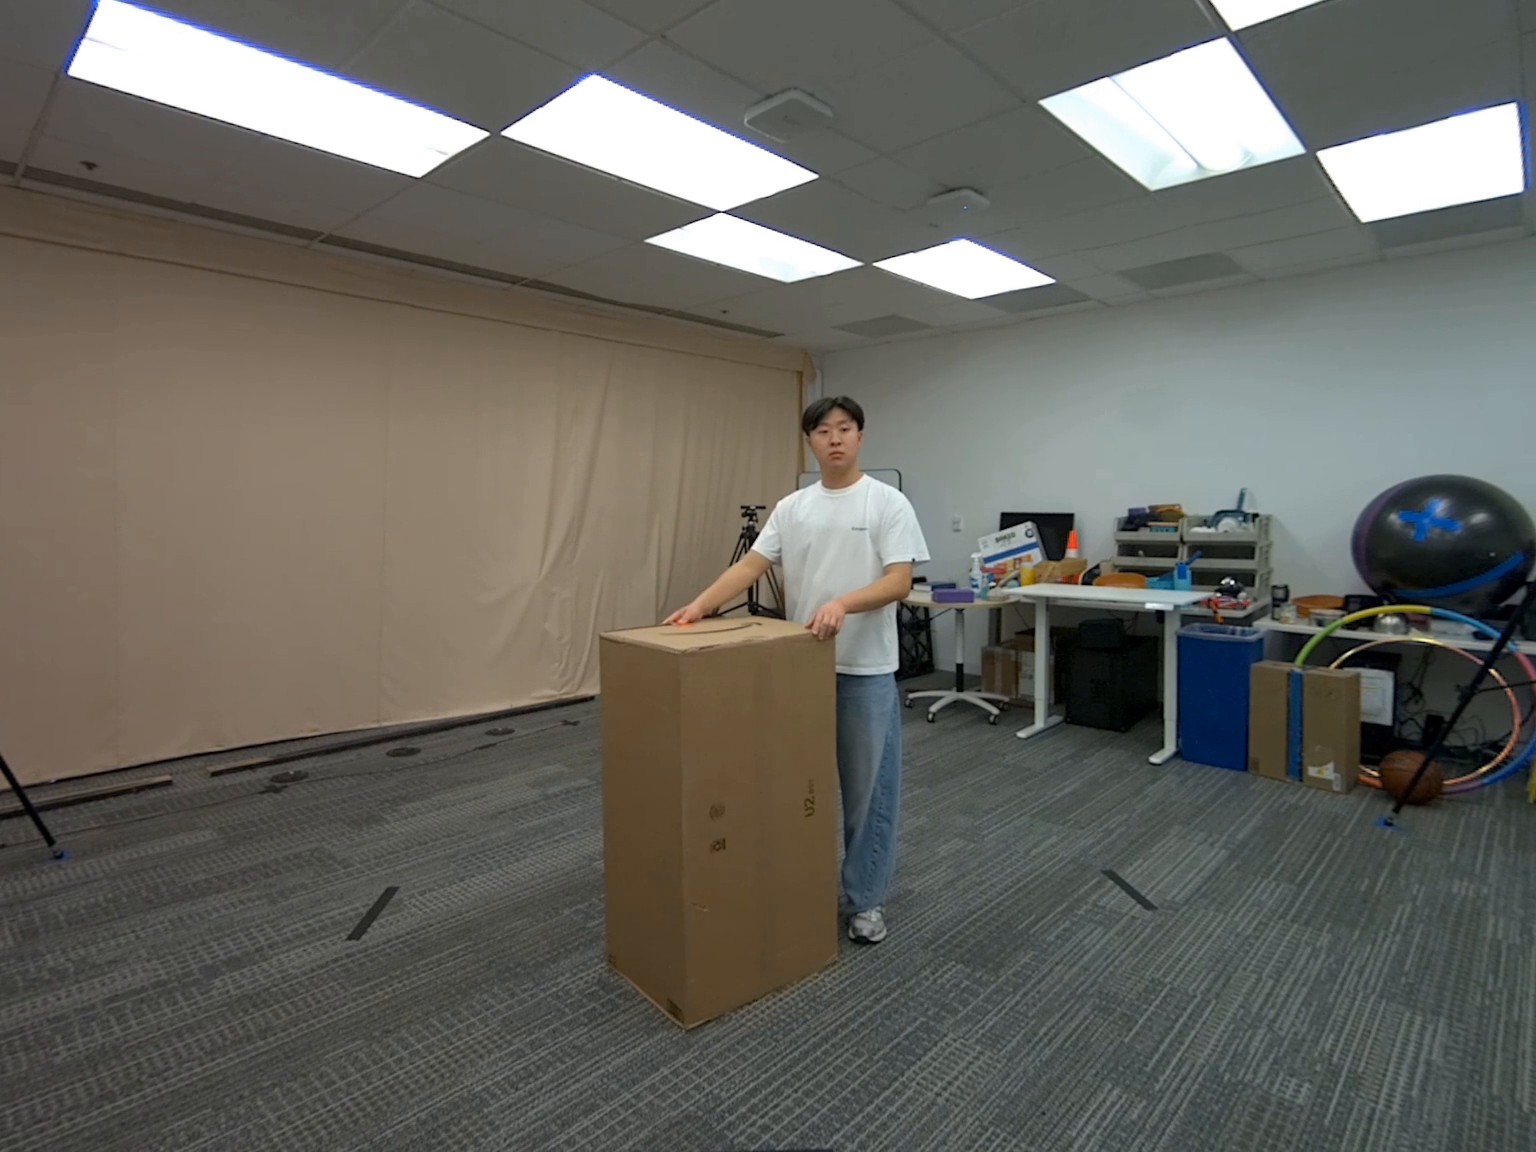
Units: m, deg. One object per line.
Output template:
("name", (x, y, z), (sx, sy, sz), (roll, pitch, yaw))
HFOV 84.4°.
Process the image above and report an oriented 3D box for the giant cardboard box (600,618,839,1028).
("giant cardboard box", (-0.148, 0.673, 2.532), (0.560, 1.024, 0.440), (-3, 4, -38))
